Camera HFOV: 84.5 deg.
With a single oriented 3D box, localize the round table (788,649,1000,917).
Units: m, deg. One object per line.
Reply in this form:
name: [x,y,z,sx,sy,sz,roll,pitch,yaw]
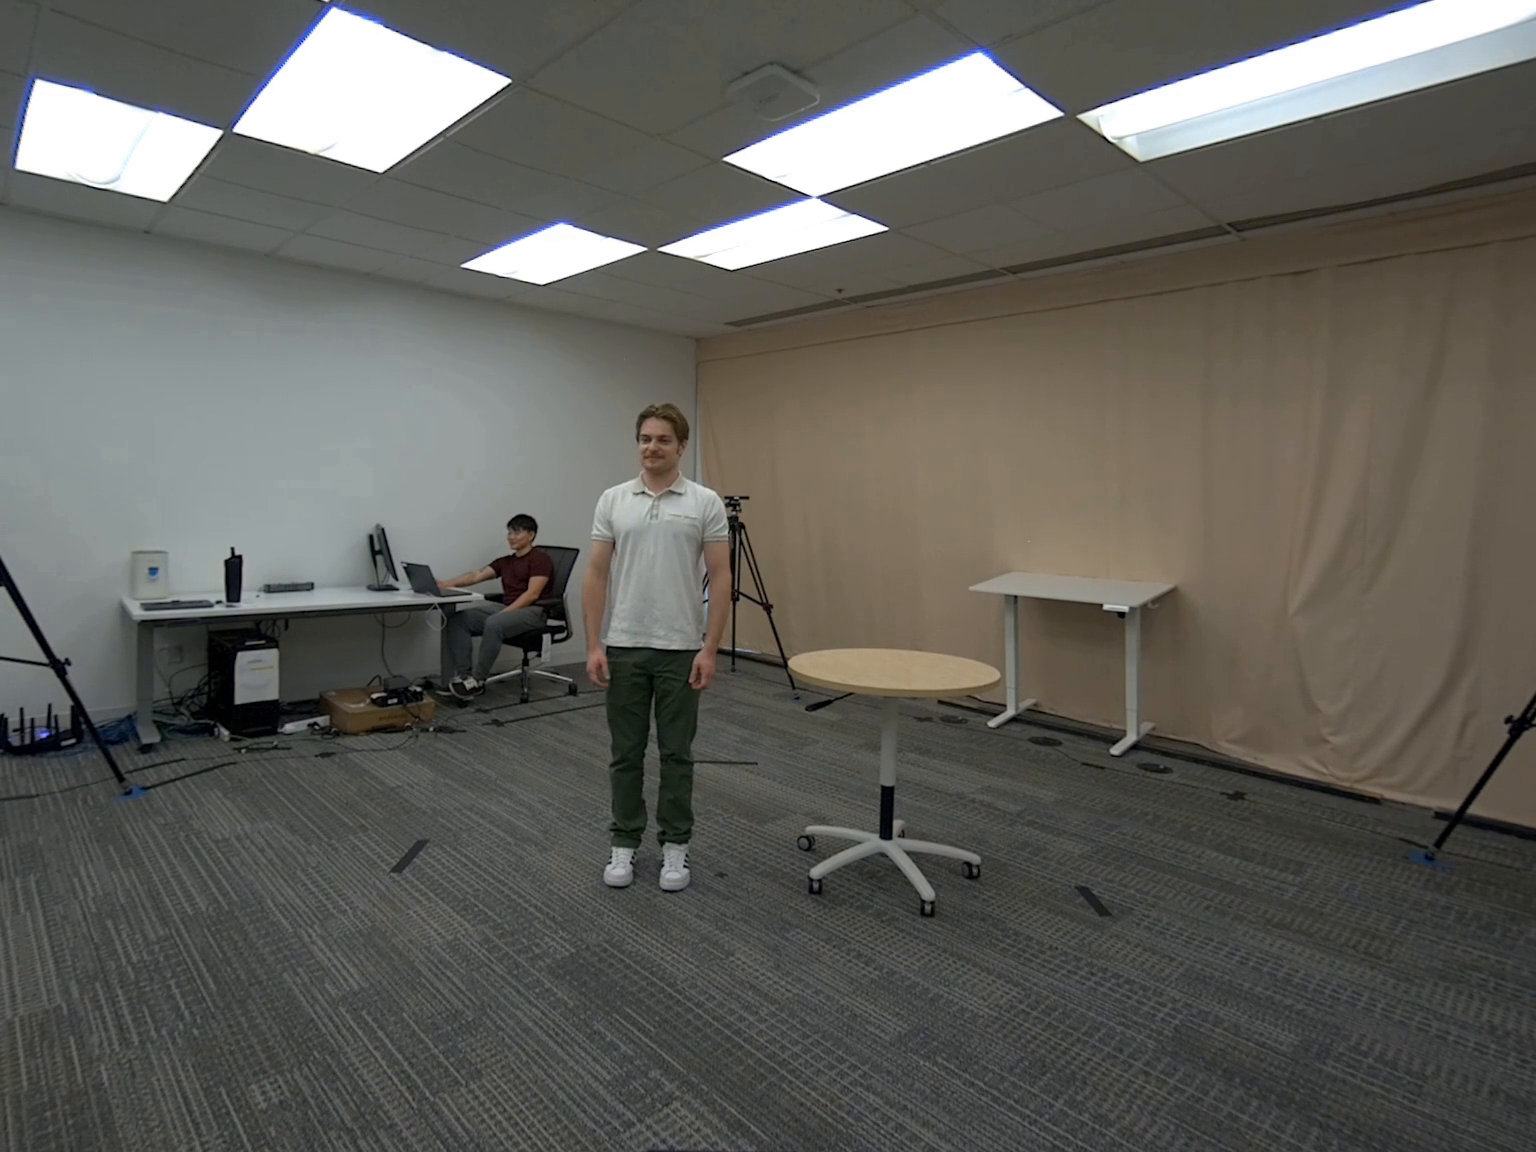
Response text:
round table: [0.431,0.726,3.118,0.763,0.792,0.766,2,4,-1]
